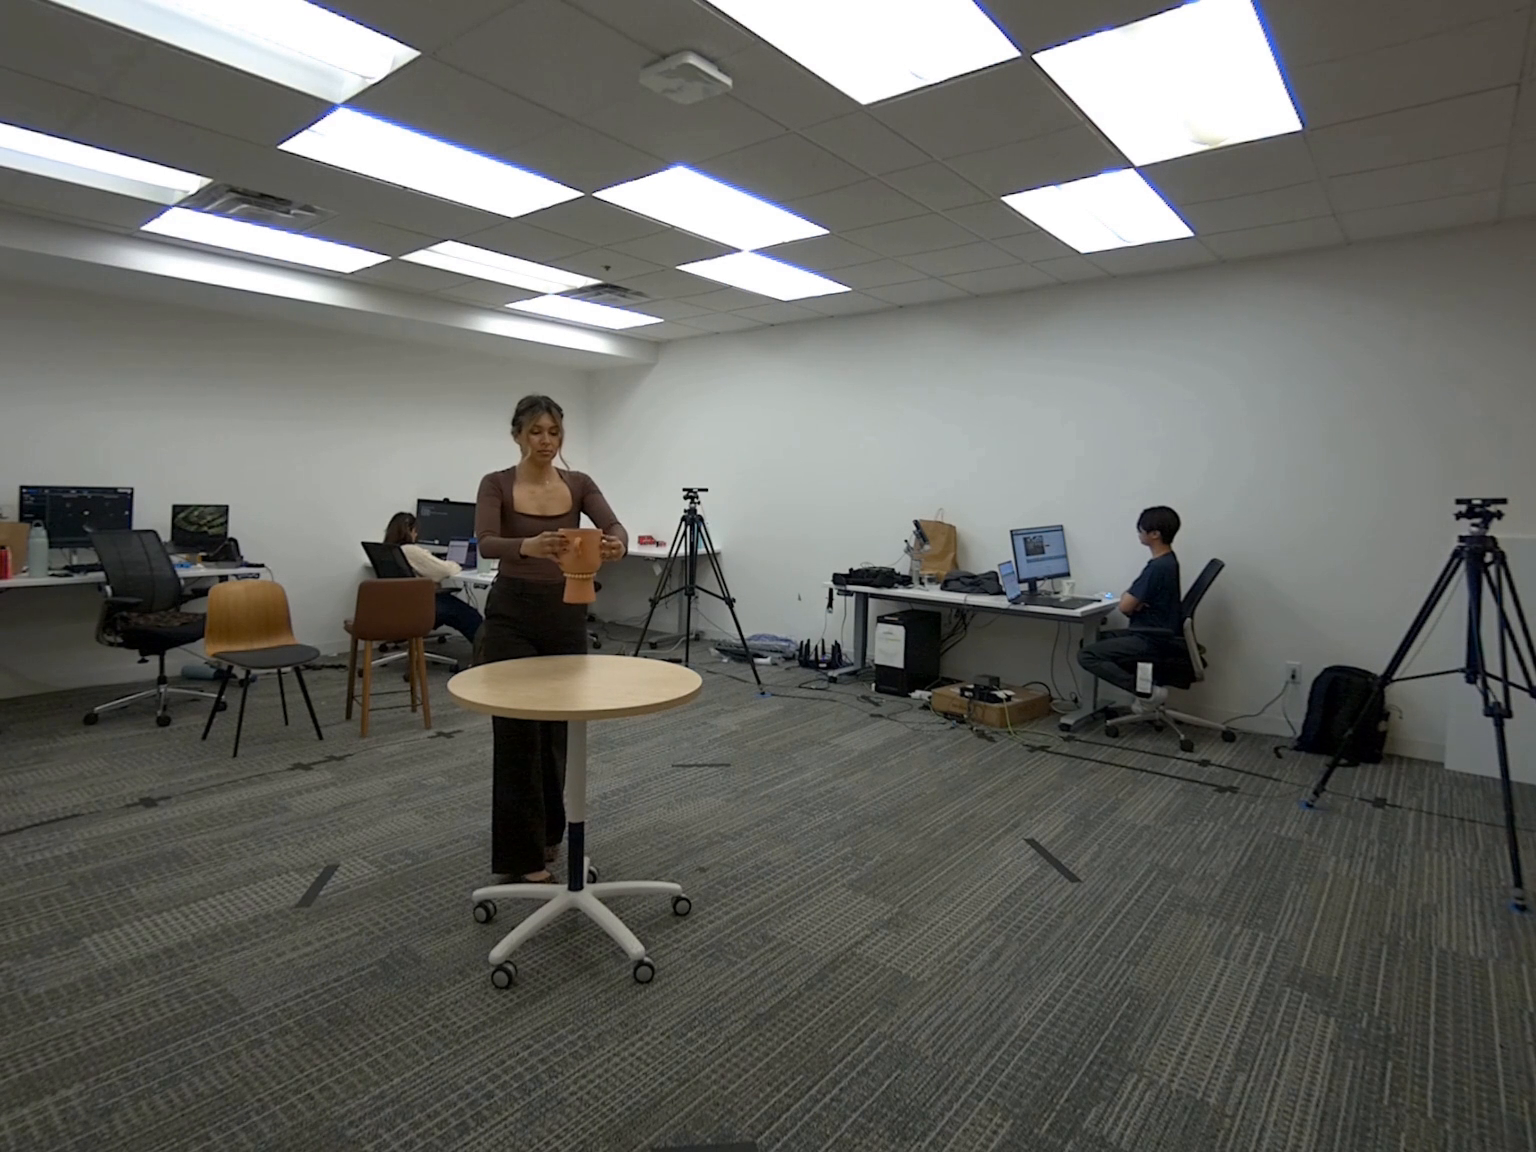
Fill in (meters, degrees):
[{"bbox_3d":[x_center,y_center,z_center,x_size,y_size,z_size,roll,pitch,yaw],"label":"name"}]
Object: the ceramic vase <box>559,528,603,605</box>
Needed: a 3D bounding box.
[{"bbox_3d":[-0.582,-0.034,2.571,0.138,0.219,0.155,3,4,30],"label":"ceramic vase"}]
